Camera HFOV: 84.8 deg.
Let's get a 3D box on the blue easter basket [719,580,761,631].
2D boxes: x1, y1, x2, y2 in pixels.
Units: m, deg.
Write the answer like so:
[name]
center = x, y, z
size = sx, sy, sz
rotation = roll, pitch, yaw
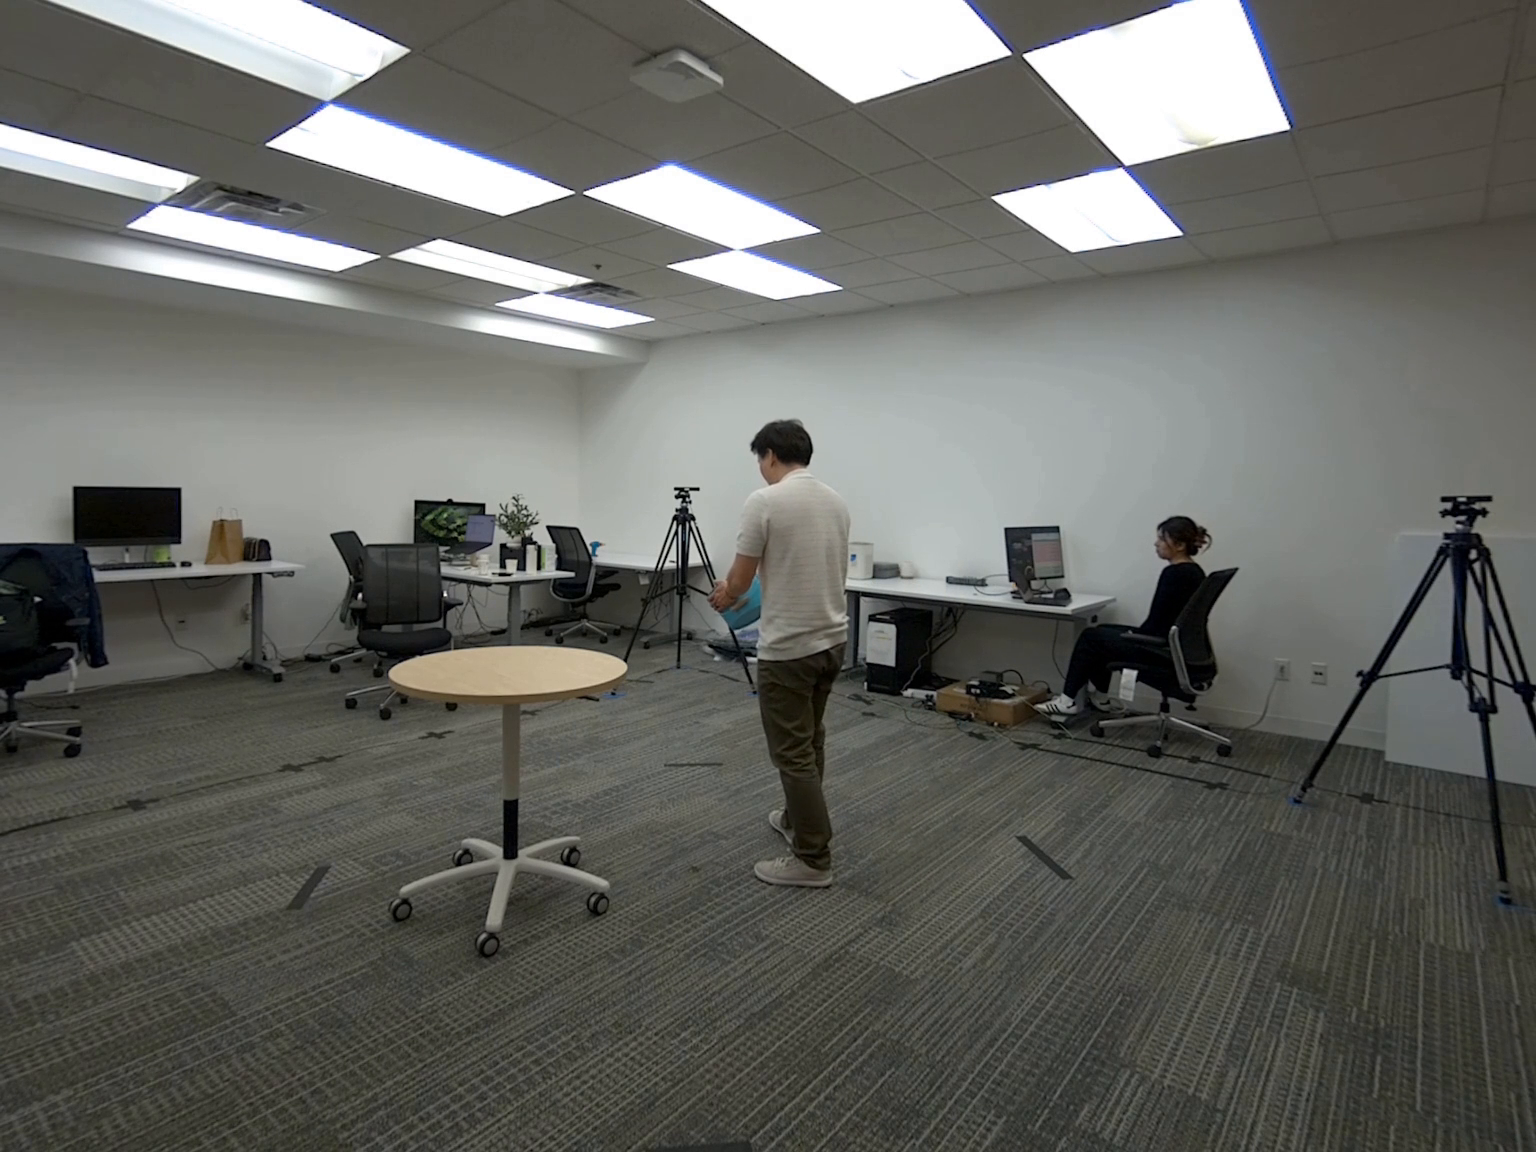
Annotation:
[blue easter basket]
center = -0.122, 0.098, 3.384
size = 0.242, 0.160, 0.238
rotation = -27, -21, -14
